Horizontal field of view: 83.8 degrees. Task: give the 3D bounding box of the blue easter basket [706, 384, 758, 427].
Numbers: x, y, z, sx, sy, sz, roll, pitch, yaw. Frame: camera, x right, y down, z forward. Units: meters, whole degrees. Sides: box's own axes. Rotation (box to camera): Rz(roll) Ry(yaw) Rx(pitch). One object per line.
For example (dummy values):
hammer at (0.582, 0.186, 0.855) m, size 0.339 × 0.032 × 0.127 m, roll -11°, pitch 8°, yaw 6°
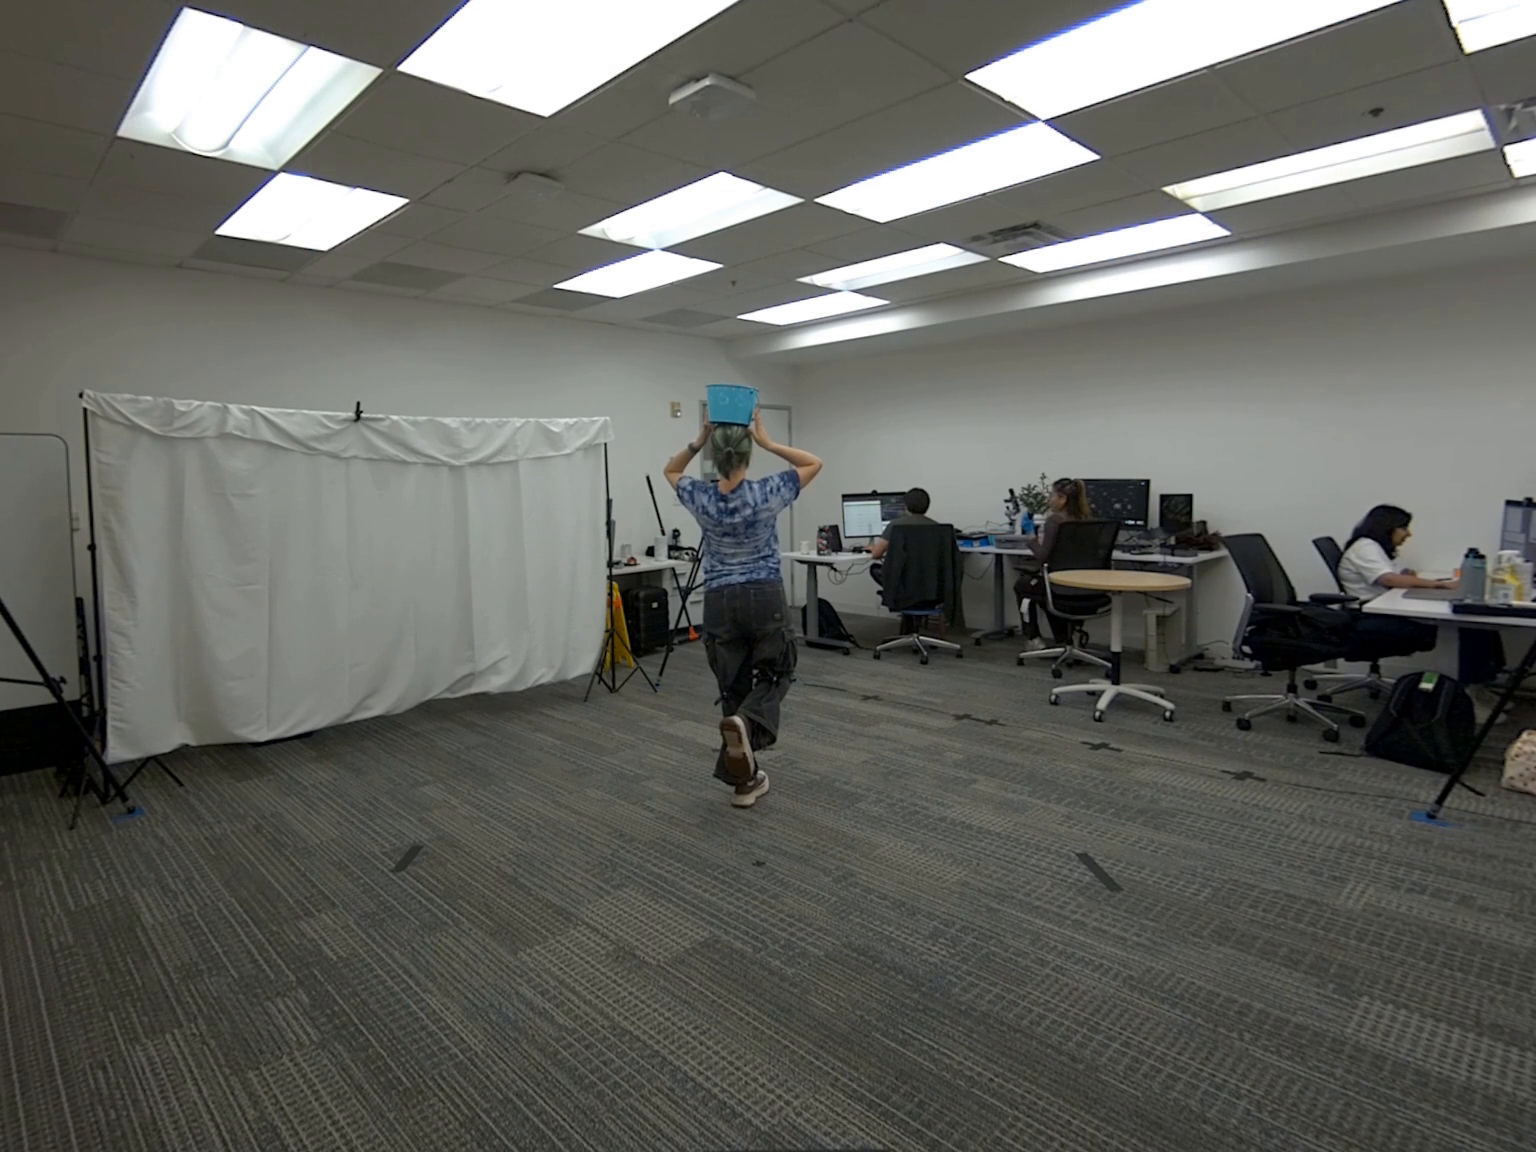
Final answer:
blue easter basket at (-0.167, -0.718, 3.646) m, size 0.243 × 0.155 × 0.245 m, roll 4°, pitch 5°, yaw -2°
